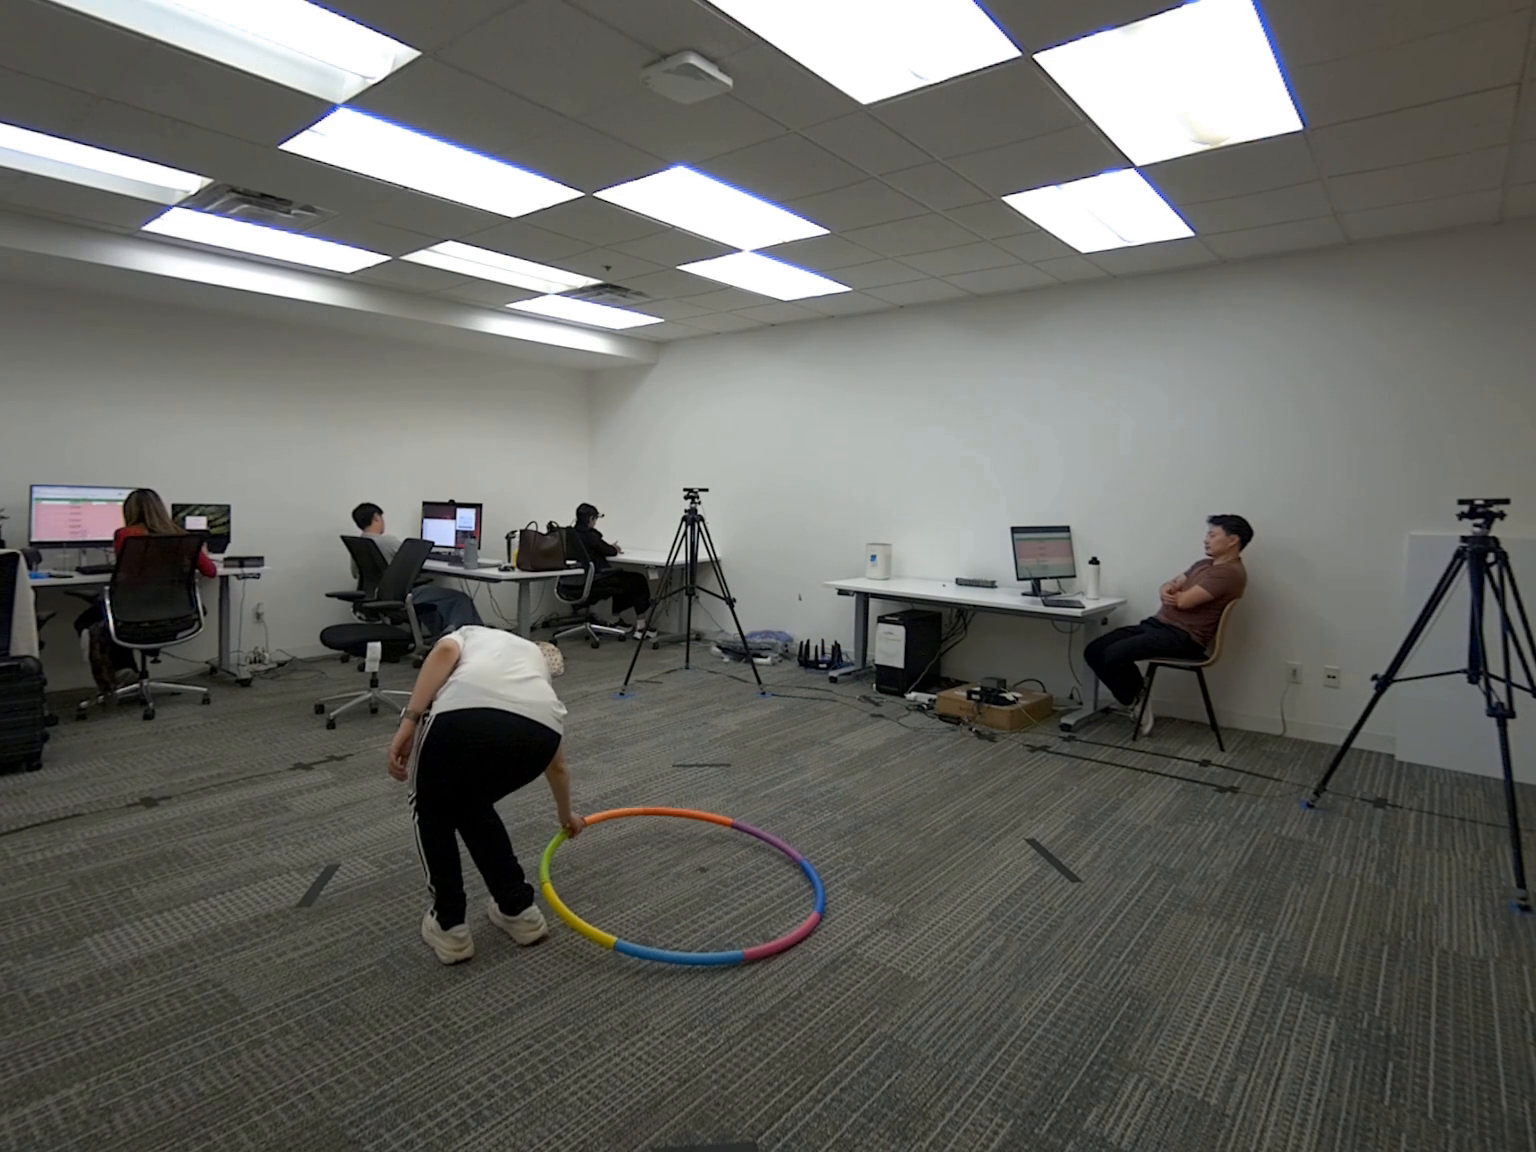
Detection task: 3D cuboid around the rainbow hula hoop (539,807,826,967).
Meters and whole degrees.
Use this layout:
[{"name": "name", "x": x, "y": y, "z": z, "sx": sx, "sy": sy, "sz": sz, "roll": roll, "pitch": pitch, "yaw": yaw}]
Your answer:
[{"name": "rainbow hula hoop", "x": -0.296, "y": 1.007, "z": 2.917, "sx": 0.977, "sy": 0.035, "sz": 0.986, "roll": 7, "pitch": 8, "yaw": -3}]
